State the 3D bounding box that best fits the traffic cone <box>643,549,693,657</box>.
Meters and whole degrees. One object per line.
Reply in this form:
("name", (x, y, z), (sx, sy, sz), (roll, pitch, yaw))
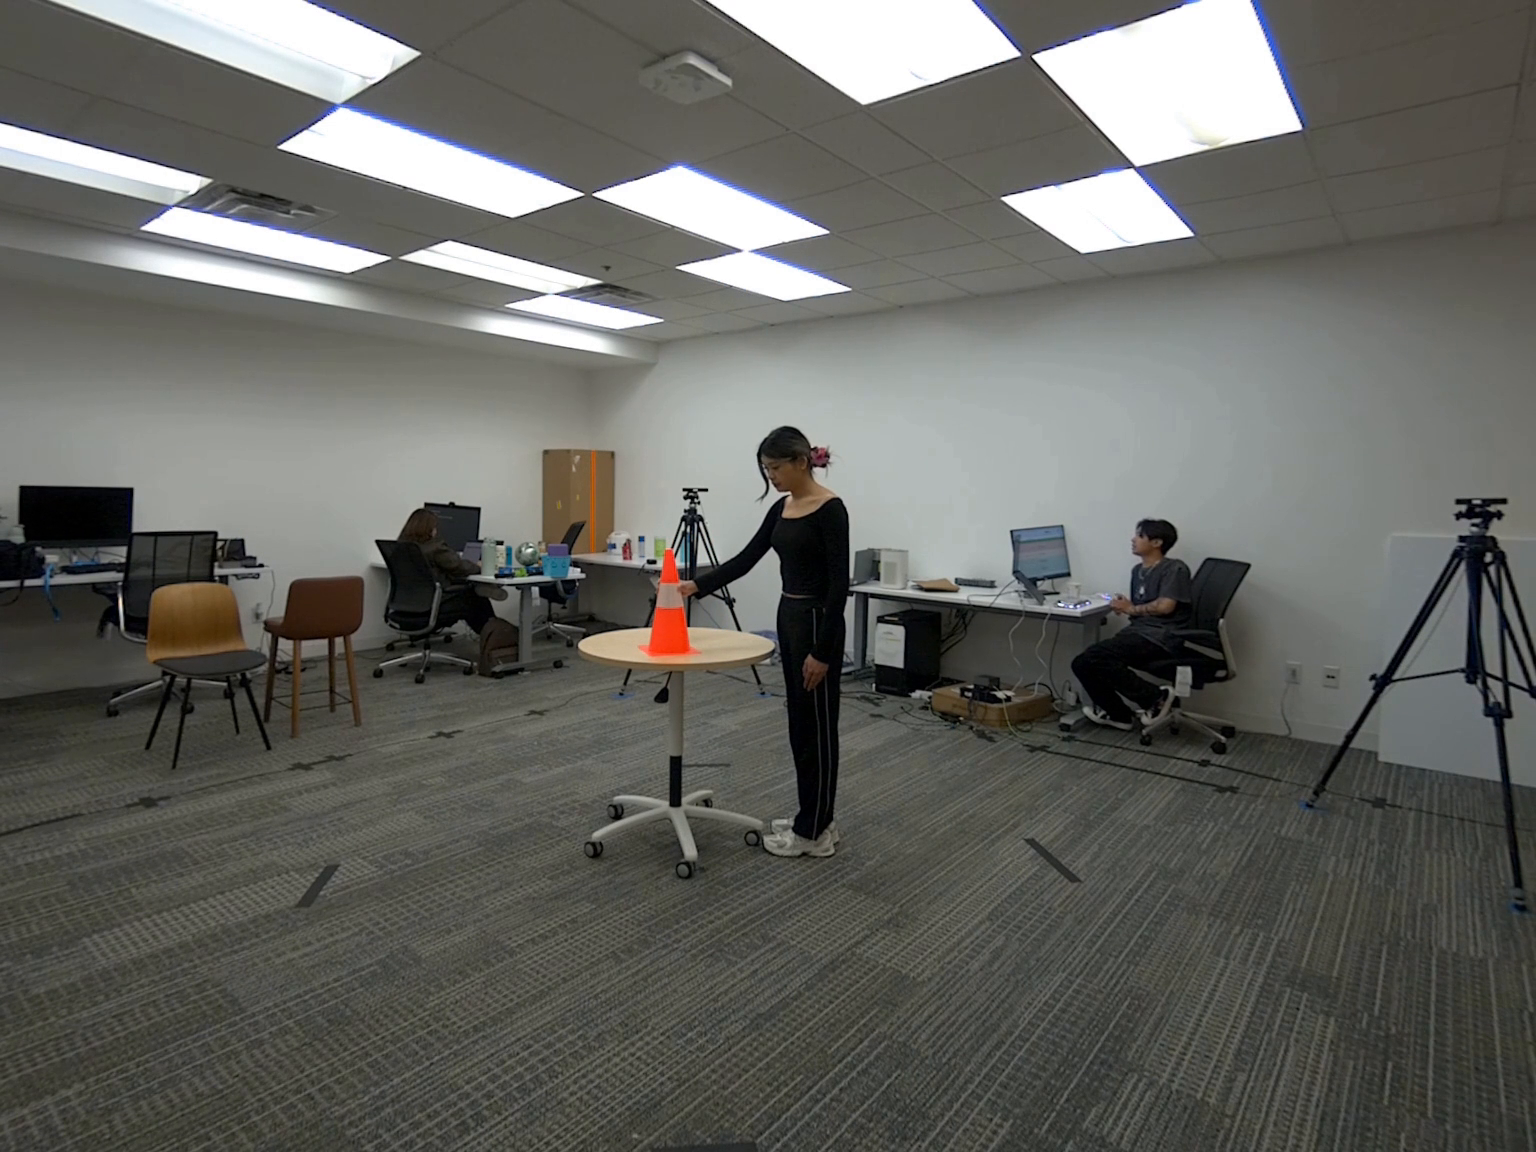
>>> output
("traffic cone", (-0.377, 0.089, 3.191), (0.199, 0.382, 0.210), (-2, 4, -20))
